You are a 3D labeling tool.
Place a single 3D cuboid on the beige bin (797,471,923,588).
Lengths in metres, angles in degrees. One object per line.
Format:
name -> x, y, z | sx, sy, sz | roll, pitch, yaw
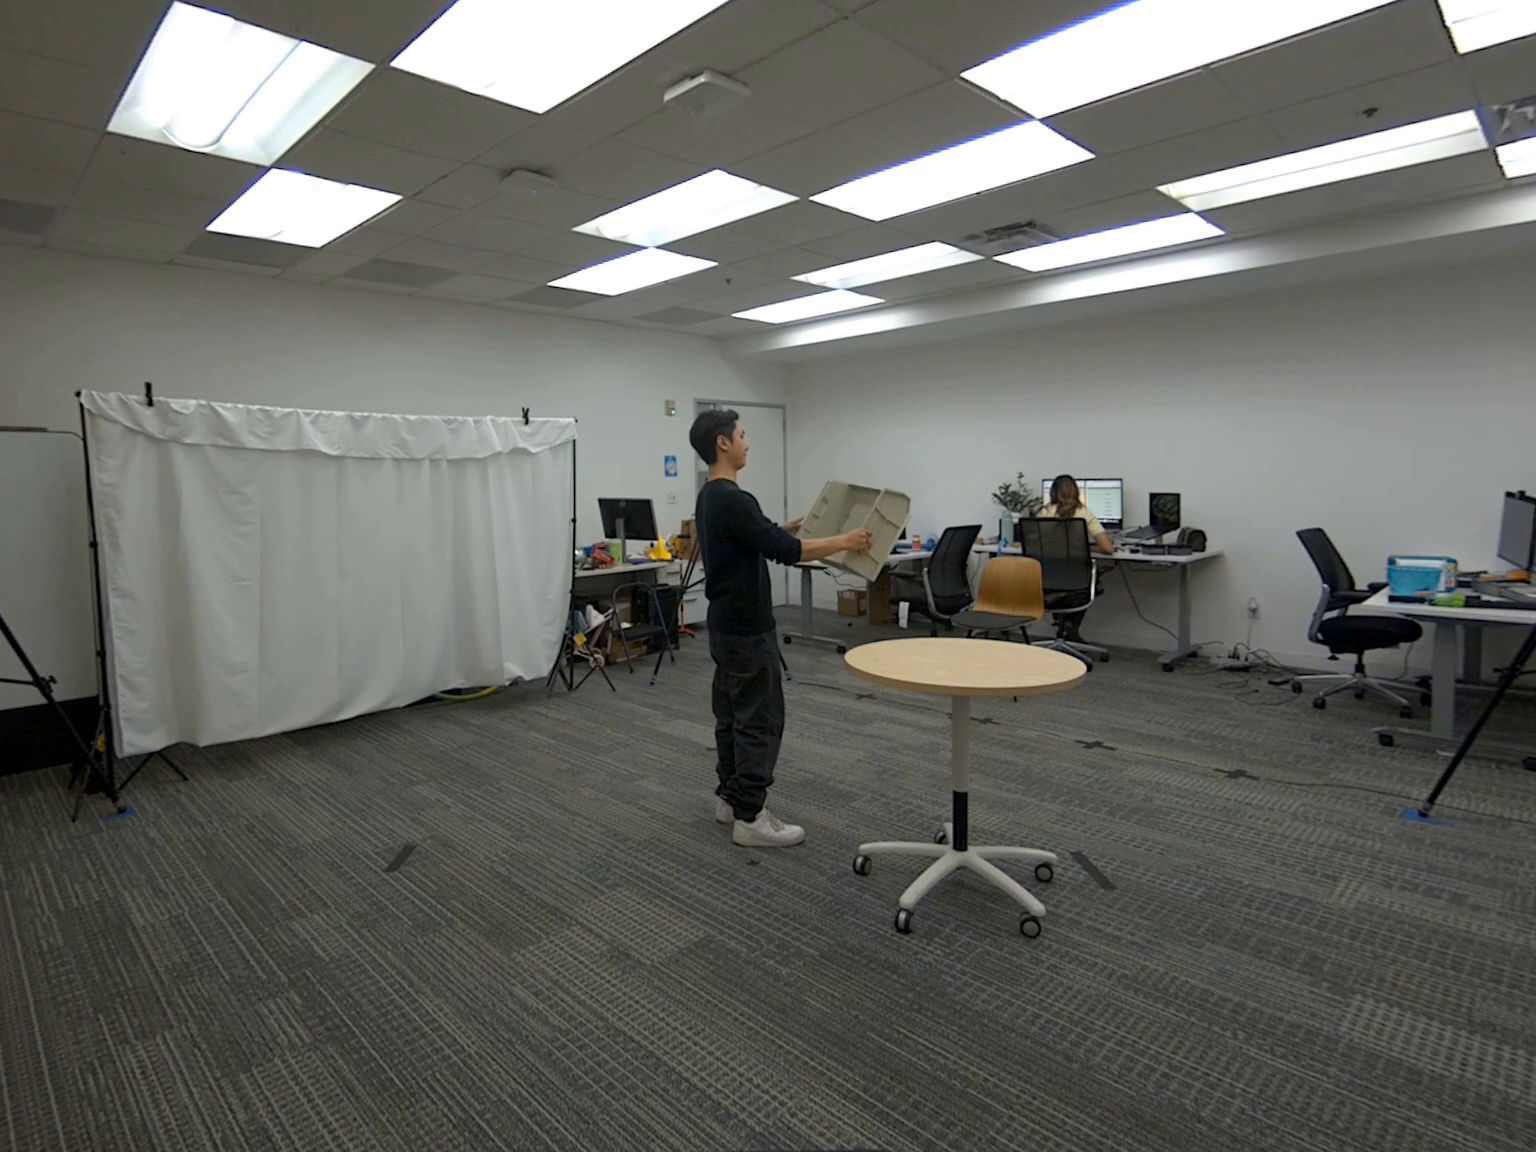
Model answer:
beige bin -> 0.353, -0.206, 3.530 | 0.183, 0.378, 0.435 | 31, -4, -28
